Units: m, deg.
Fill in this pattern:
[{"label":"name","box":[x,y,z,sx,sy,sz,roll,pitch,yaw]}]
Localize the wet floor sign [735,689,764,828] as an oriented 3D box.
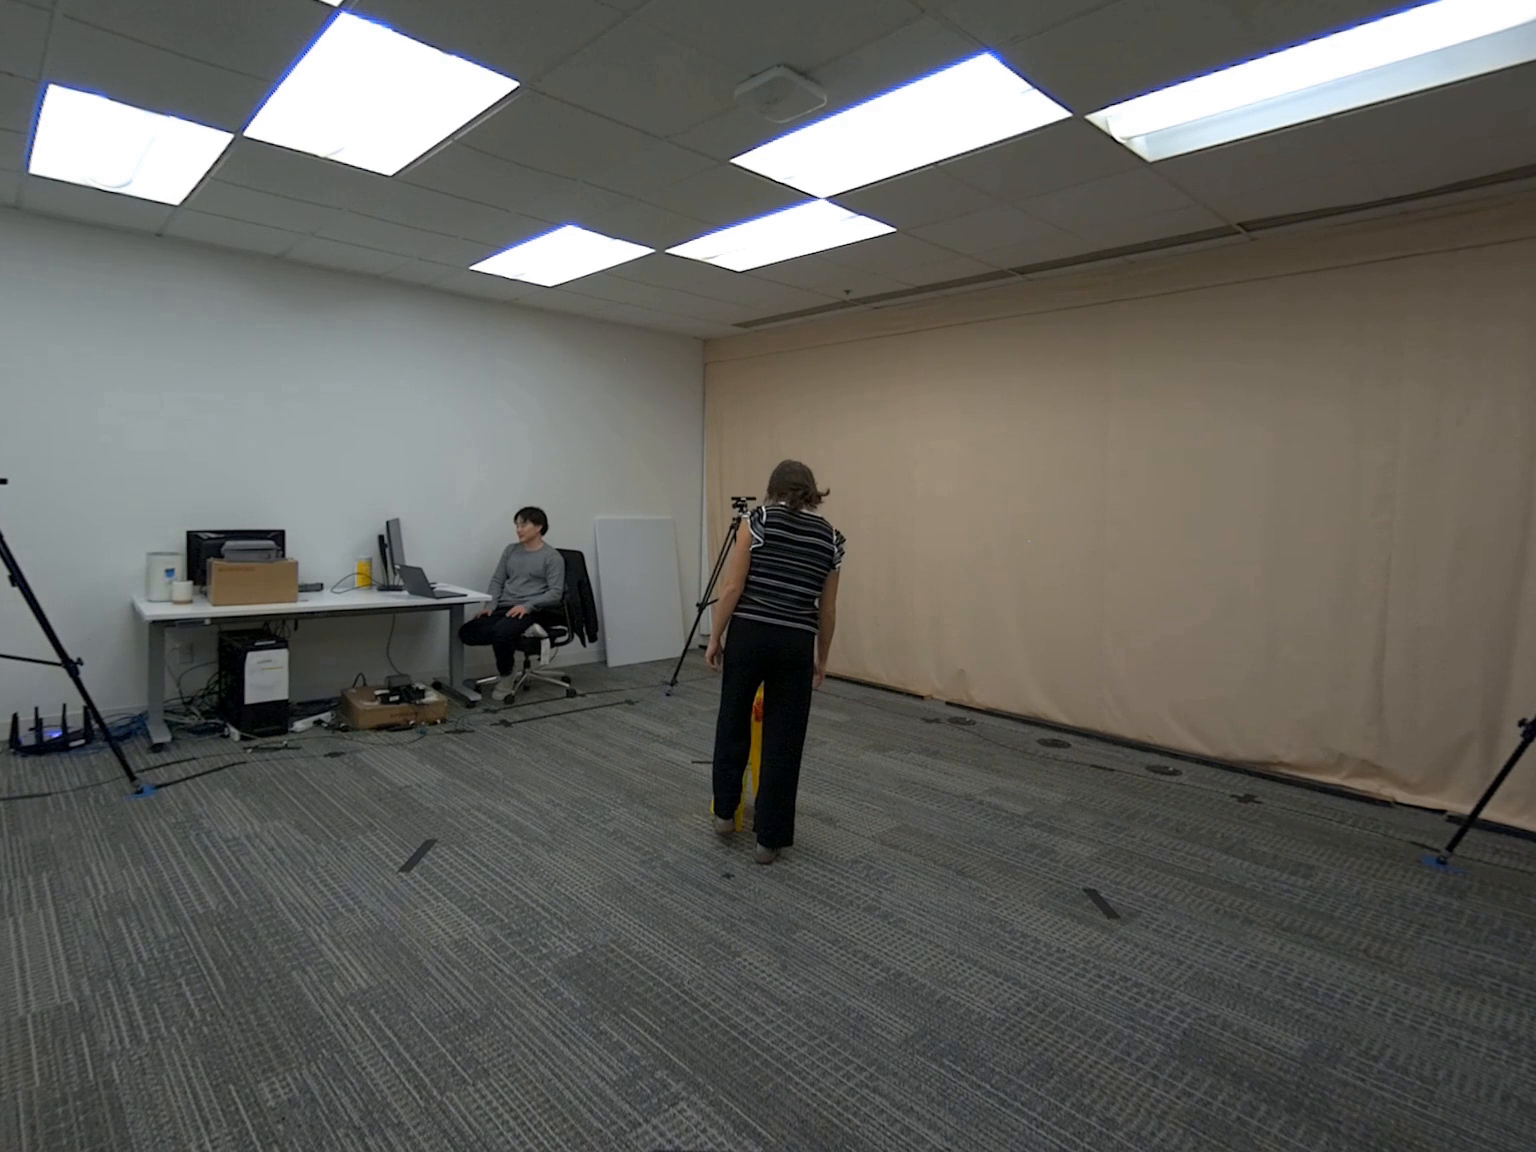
[{"label":"wet floor sign","box":[-0.095,0.736,3.659,0.285,0.645,0.287,2,3,-21]}]
